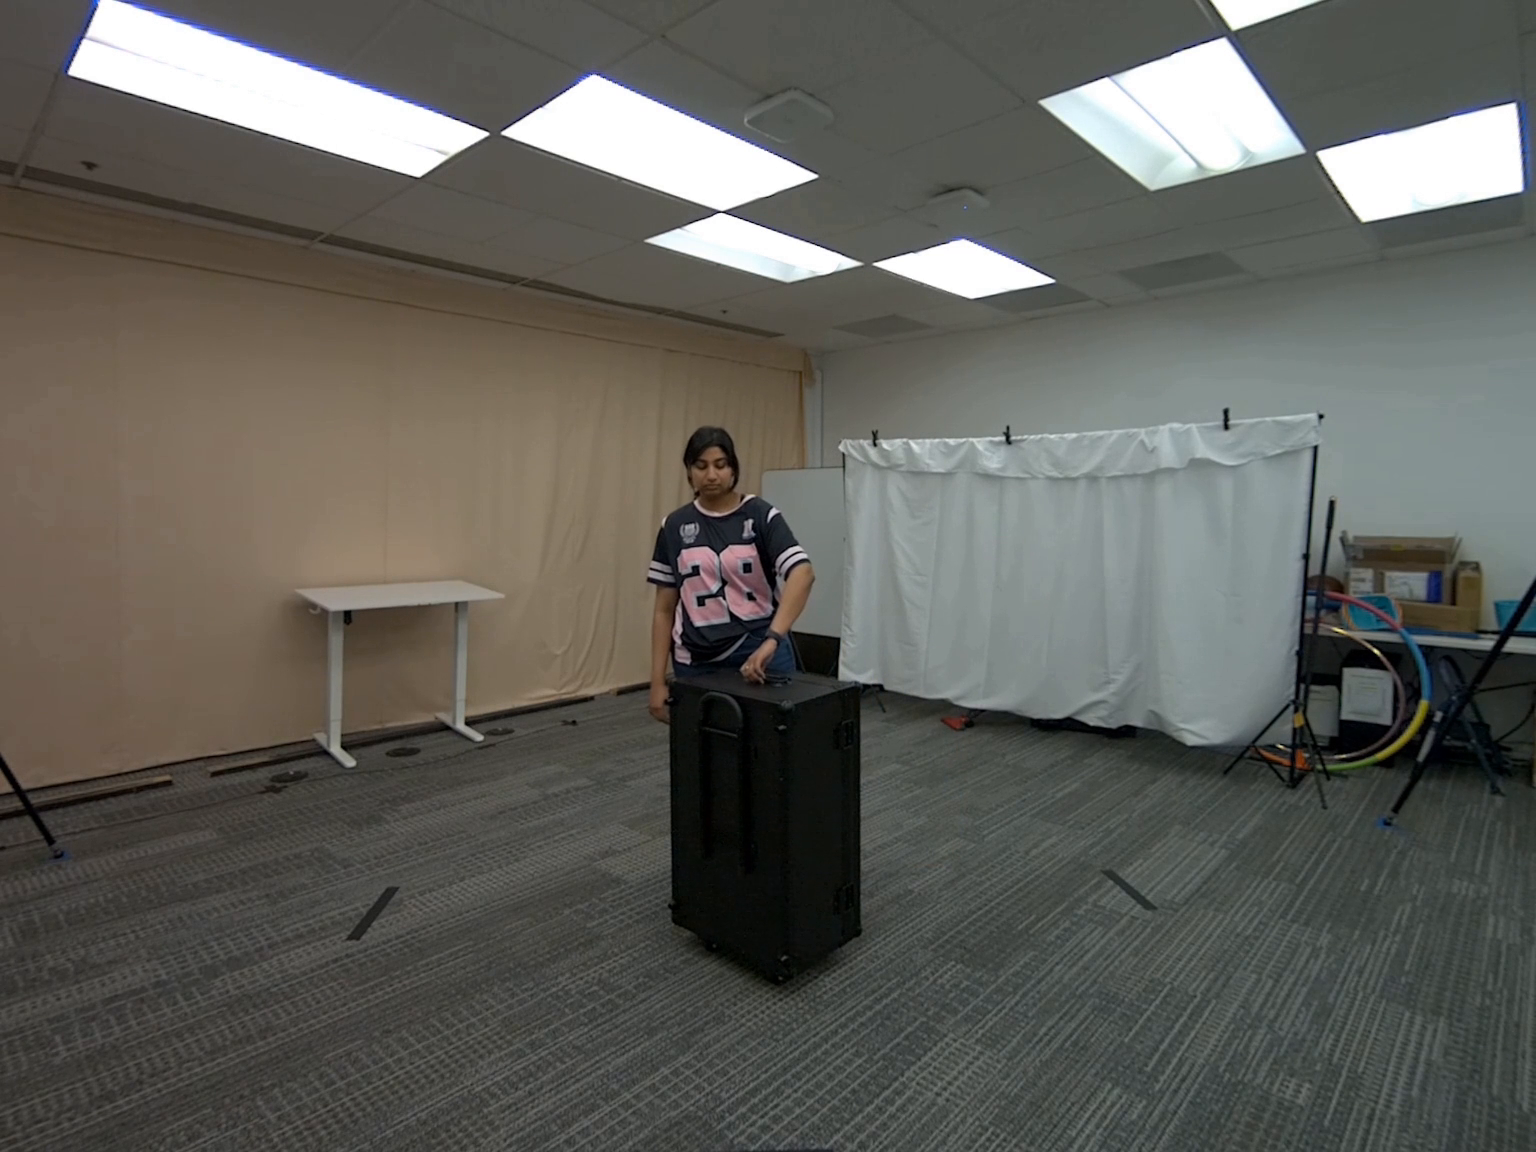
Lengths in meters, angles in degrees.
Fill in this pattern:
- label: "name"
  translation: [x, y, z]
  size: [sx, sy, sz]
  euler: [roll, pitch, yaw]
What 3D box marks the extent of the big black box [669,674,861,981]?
- label: "big black box"
  translation: [-0.003, 0.753, 2.602]
  size: [0.540, 0.866, 0.373]
  euler: [2, 4, 41]
